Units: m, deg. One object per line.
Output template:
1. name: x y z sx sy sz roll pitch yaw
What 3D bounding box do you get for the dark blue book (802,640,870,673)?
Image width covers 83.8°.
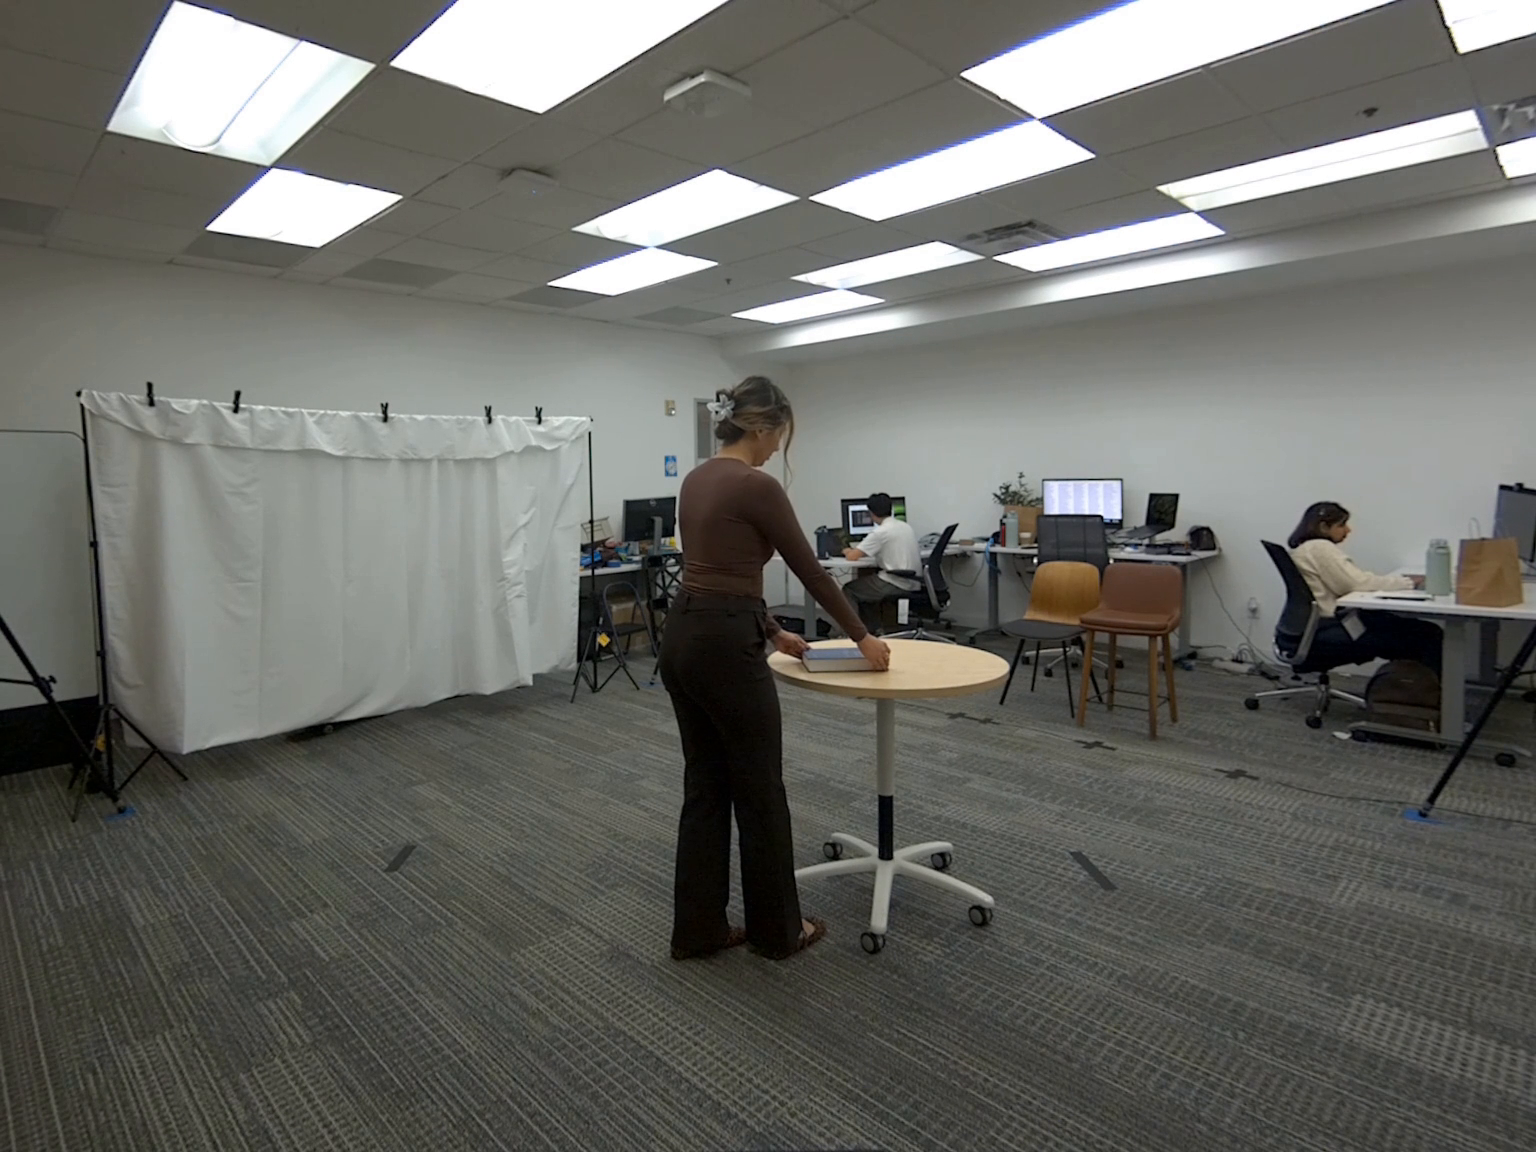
1. dark blue book: 0.237 0.270 2.699 0.244 0.045 0.164 -3 7 -3
